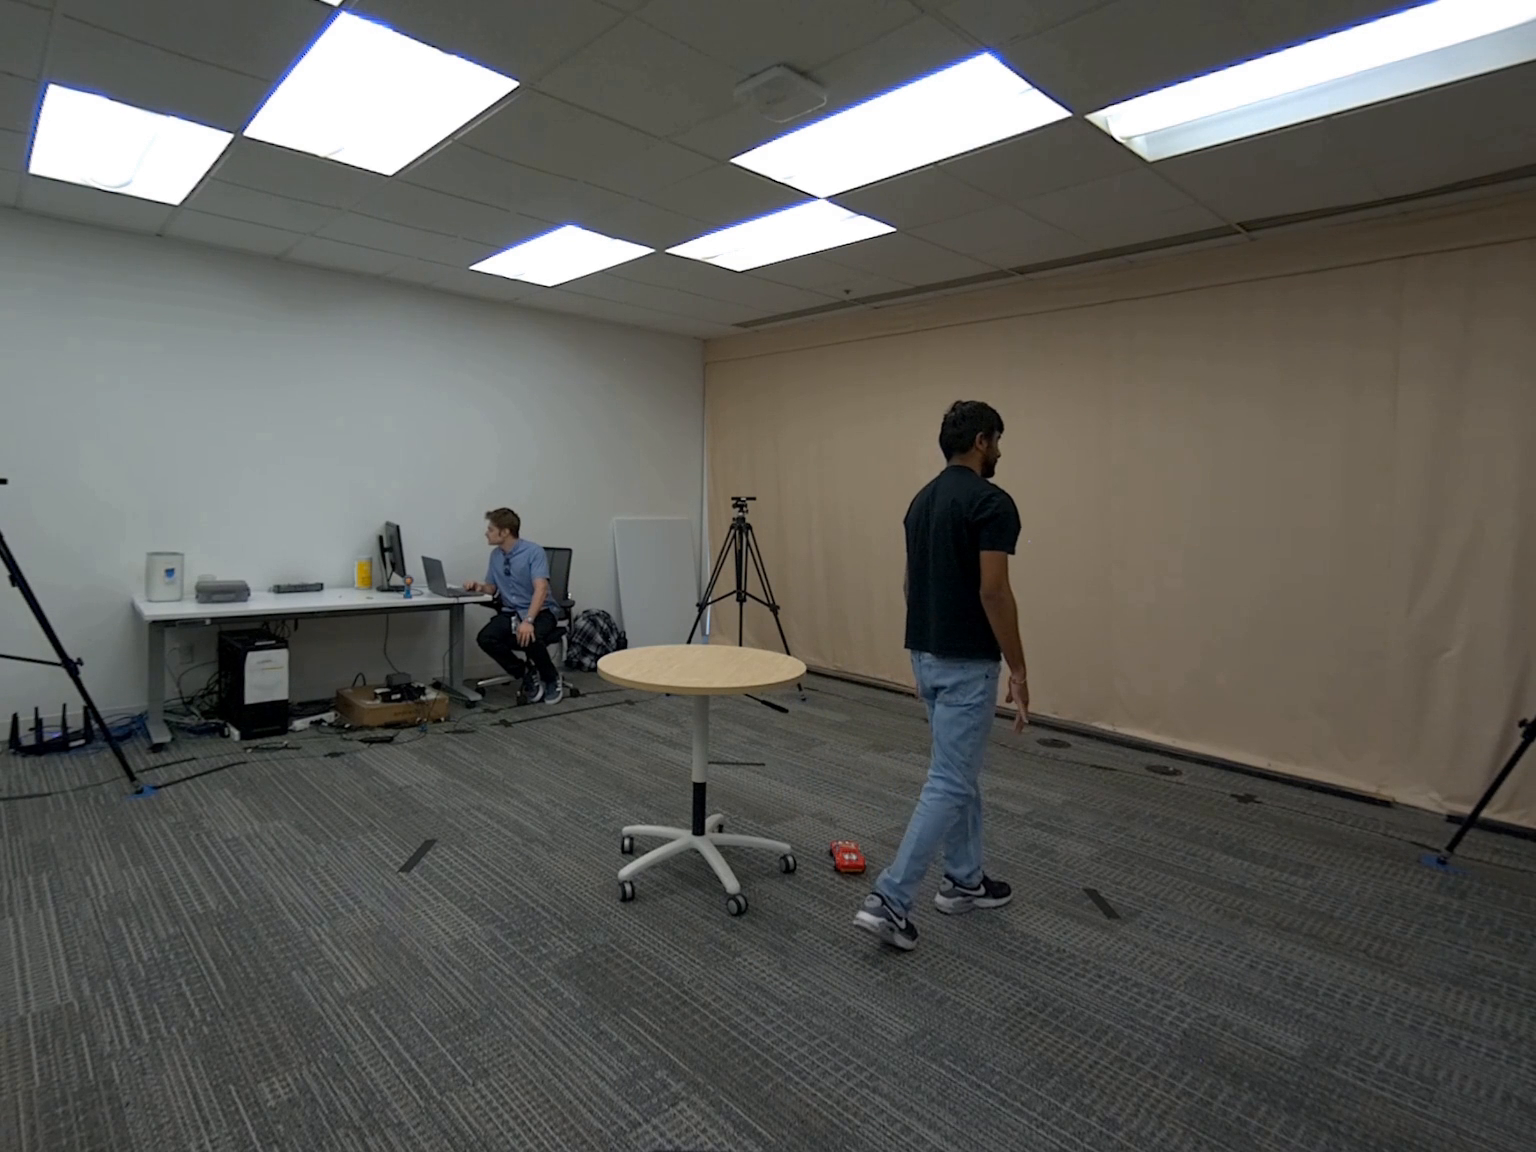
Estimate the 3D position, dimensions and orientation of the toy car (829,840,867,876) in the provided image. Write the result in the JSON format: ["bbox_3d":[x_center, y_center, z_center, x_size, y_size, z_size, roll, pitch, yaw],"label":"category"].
[{"bbox_3d":[0.302,1.070,3.221,0.130,0.083,0.253,0,-6,-3],"label":"toy car"}]
